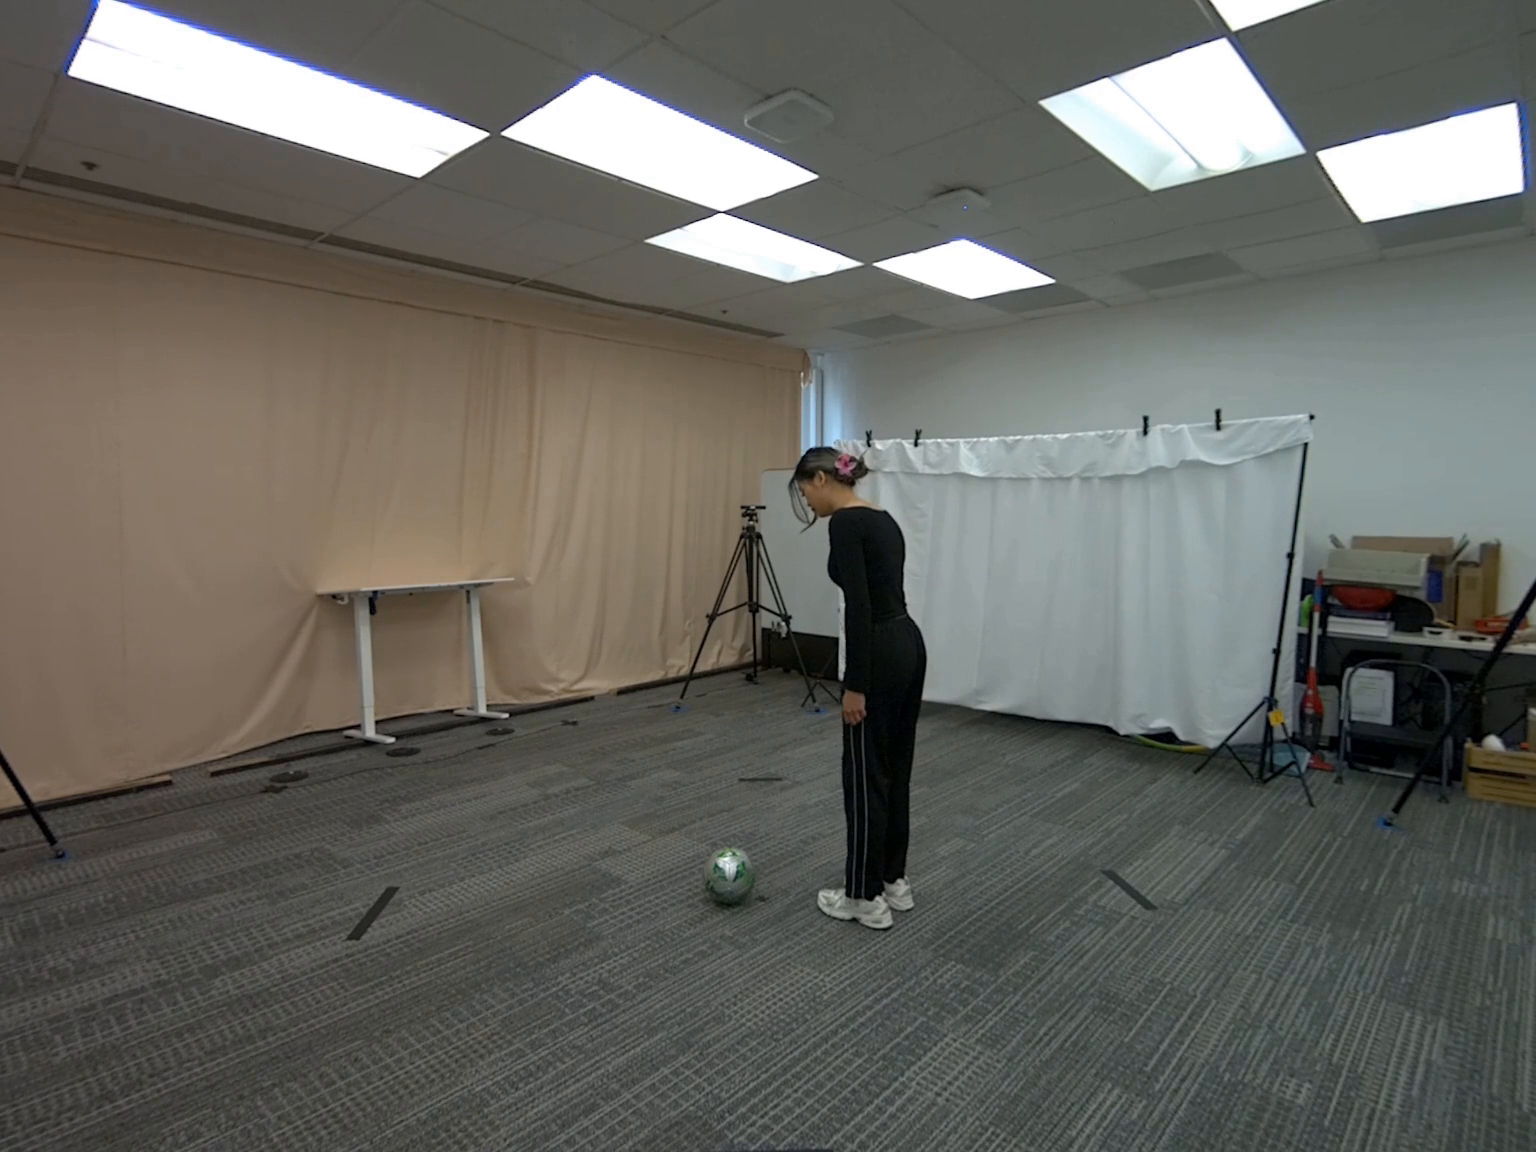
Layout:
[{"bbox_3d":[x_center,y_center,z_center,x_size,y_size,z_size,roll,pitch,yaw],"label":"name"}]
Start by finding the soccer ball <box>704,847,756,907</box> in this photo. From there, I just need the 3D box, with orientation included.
[{"bbox_3d":[-0.136,1.058,2.963,0.187,0.187,0.188,0,4,-2],"label":"soccer ball"}]
